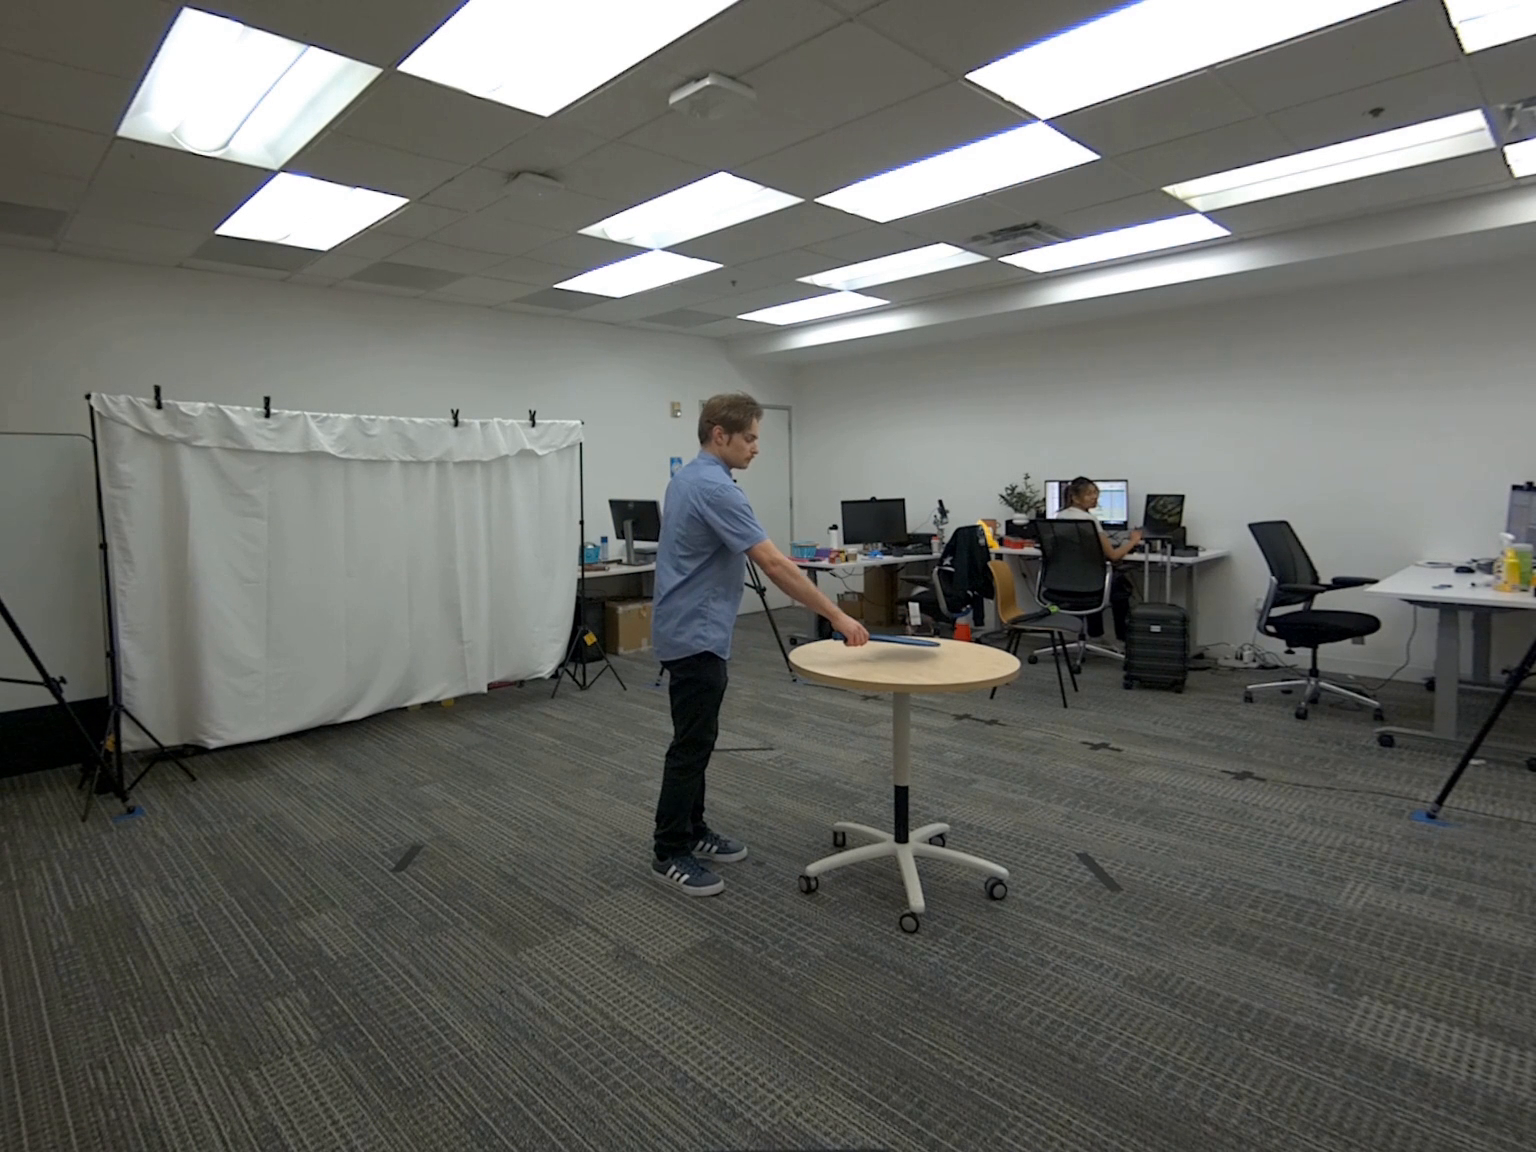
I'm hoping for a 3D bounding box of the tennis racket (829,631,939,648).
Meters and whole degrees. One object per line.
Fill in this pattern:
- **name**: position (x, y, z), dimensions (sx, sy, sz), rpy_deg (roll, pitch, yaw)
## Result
- **tennis racket**: position (0.395, 0.211, 2.922), dimensions (0.424, 0.032, 0.218), rpy_deg (6, 1, -21)
